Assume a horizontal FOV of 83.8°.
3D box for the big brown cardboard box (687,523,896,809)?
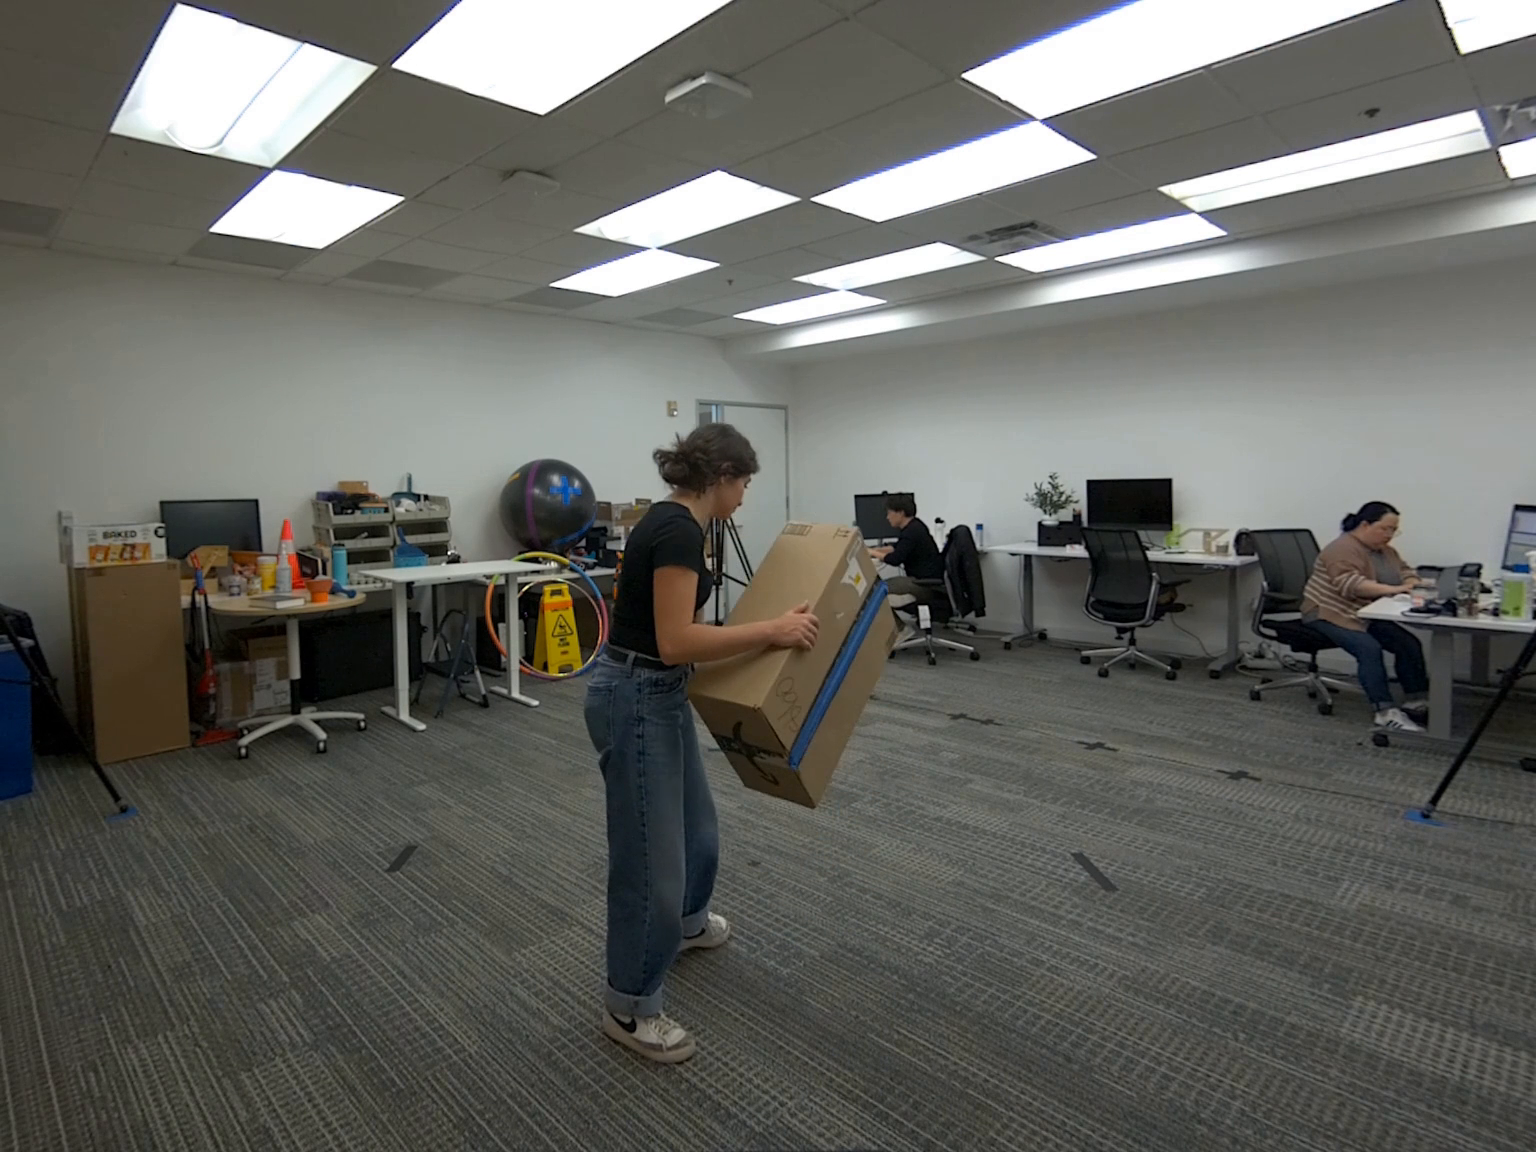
[{"bbox_3d":[0.093,0.218,2.178,0.240,0.402,0.592,7,50,36],"label":"big brown cardboard box"}]
